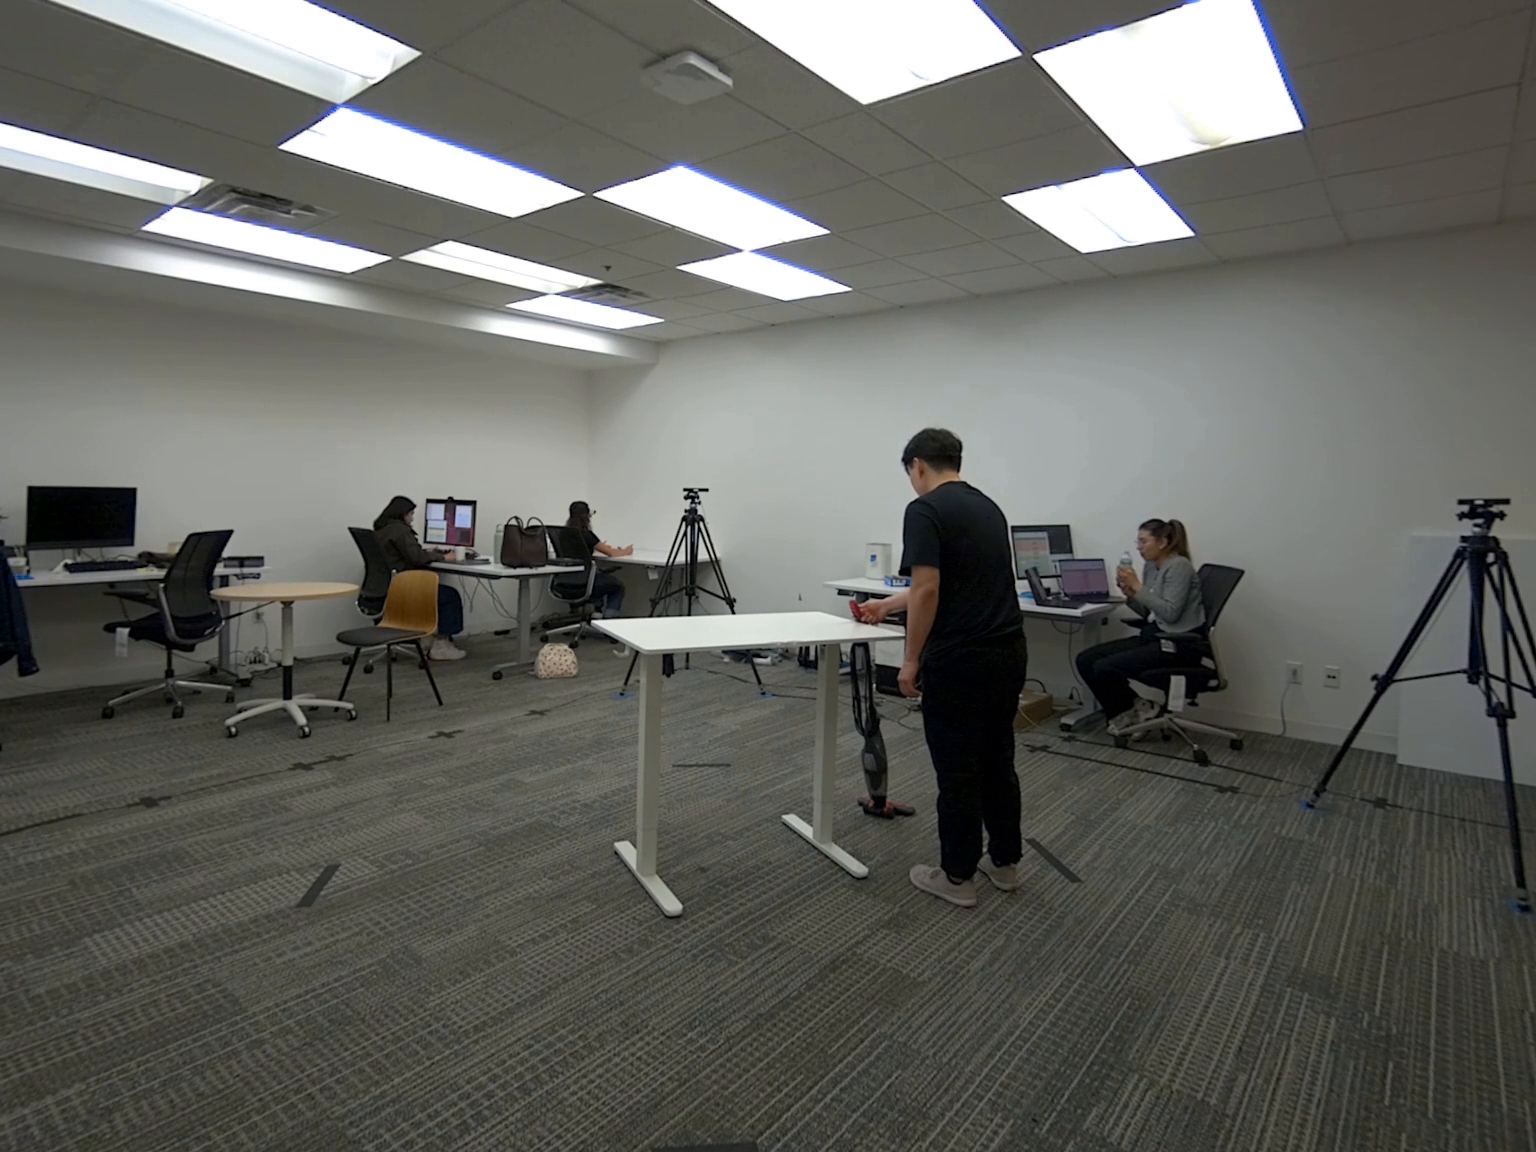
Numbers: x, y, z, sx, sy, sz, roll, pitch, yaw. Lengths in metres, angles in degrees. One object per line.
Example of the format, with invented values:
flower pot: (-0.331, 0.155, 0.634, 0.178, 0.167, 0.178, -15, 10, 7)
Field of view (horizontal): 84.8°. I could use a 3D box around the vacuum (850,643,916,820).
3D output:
vacuum: (0.412, 0.566, 3.508, 0.259, 1.024, 0.144, 2, 26, 27)
